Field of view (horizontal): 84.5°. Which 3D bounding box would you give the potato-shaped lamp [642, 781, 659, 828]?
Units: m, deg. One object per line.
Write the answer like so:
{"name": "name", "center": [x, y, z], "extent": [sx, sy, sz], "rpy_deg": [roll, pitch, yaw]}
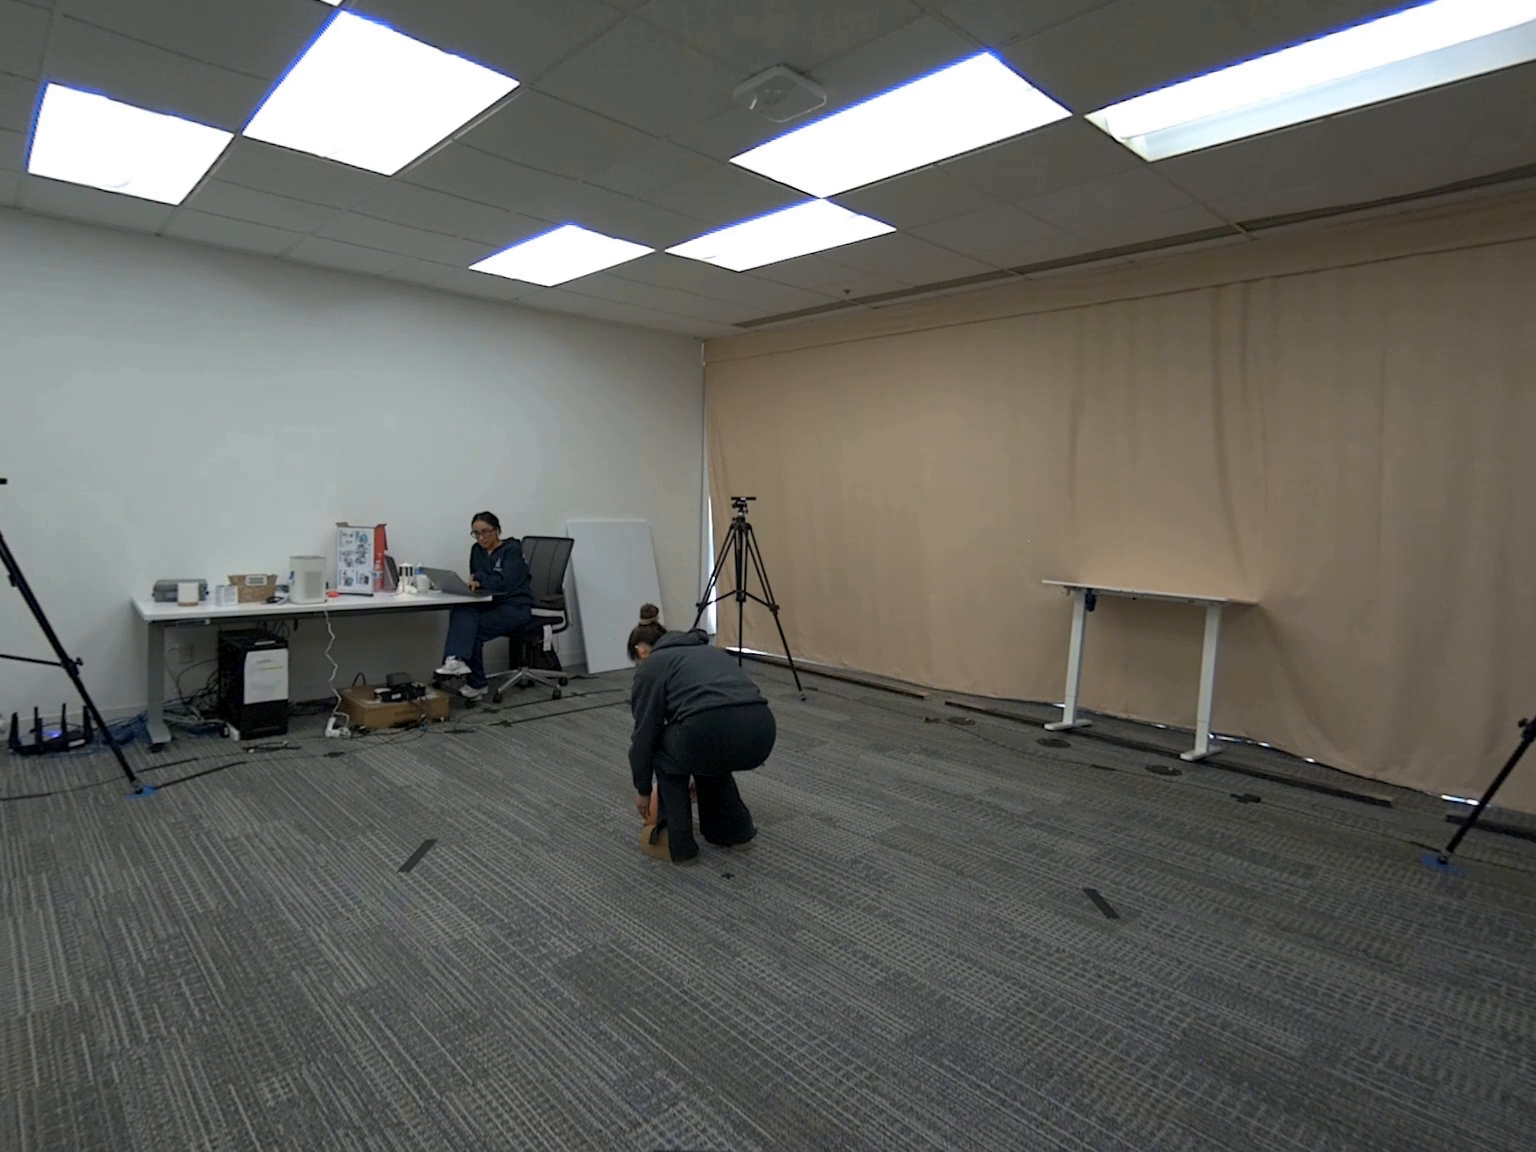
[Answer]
{"name": "potato-shaped lamp", "center": [-0.436, 0.948, 3.572], "extent": [0.176, 0.197, 0.161], "rpy_deg": [8, 4, 38]}
